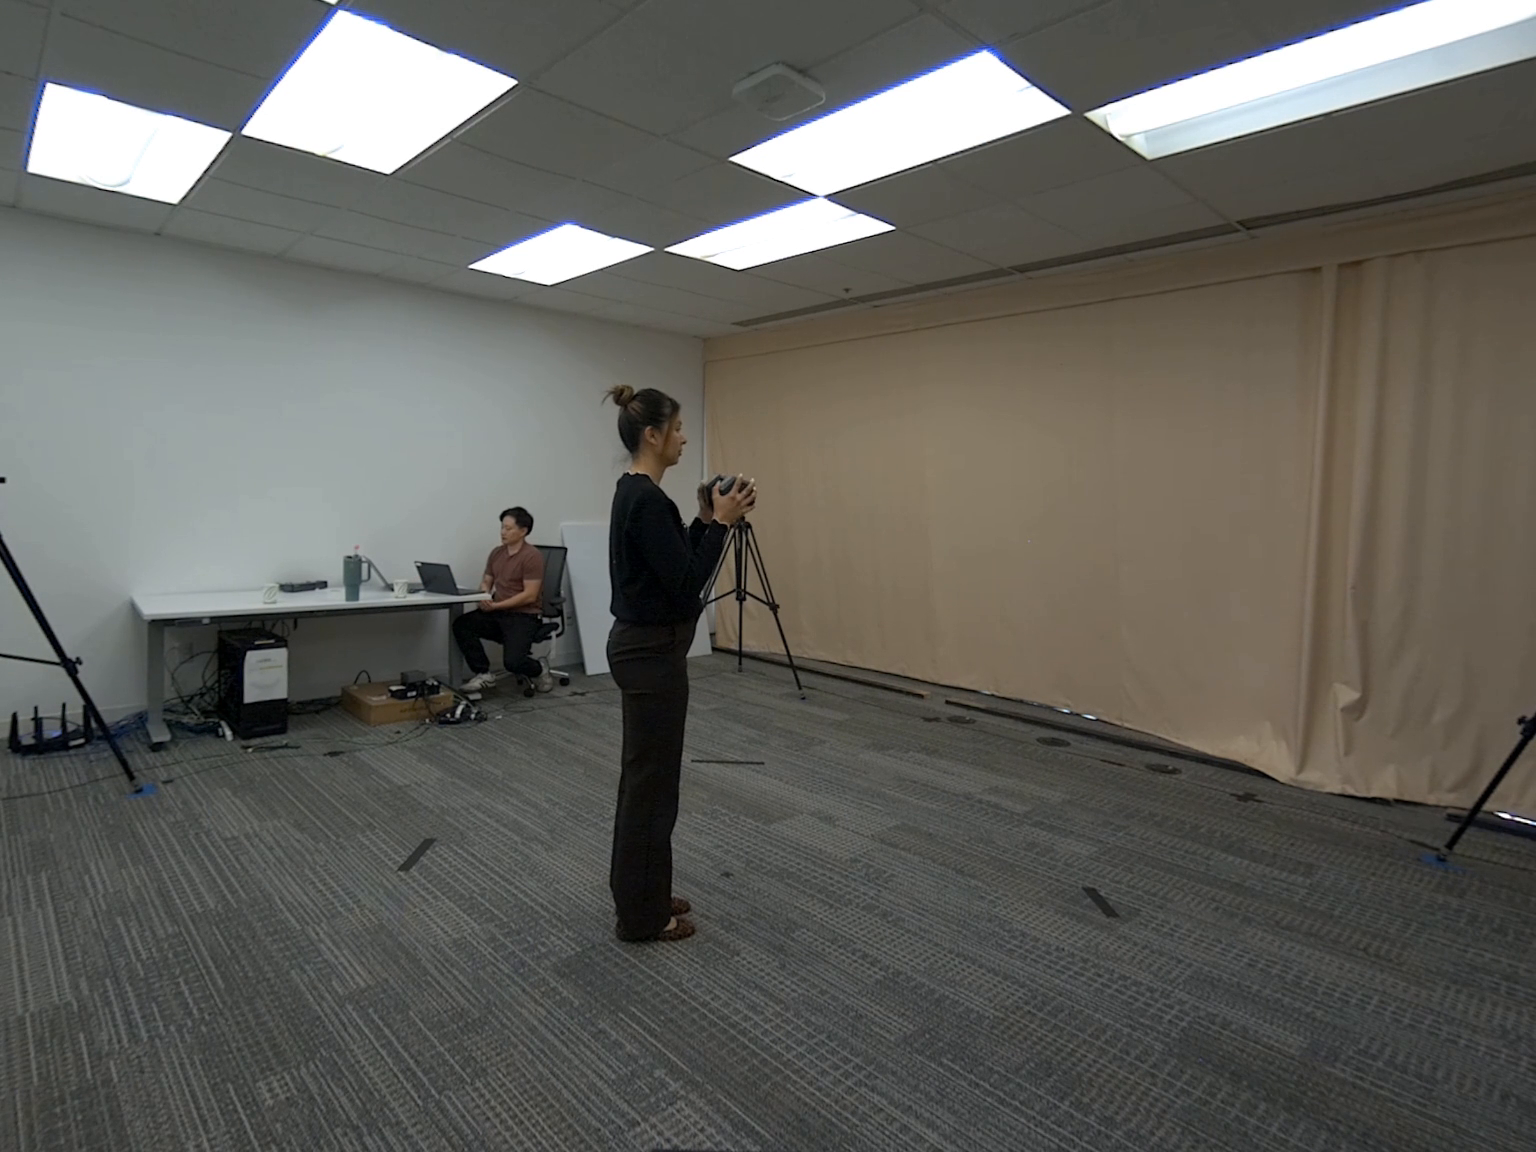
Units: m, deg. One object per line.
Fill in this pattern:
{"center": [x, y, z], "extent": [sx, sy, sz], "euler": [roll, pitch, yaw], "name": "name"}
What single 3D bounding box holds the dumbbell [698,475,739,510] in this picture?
{"center": [-0.165, -0.255, 2.689], "extent": [0.123, 0.107, 0.298], "euler": [-31, 14, -6], "name": "dumbbell"}
